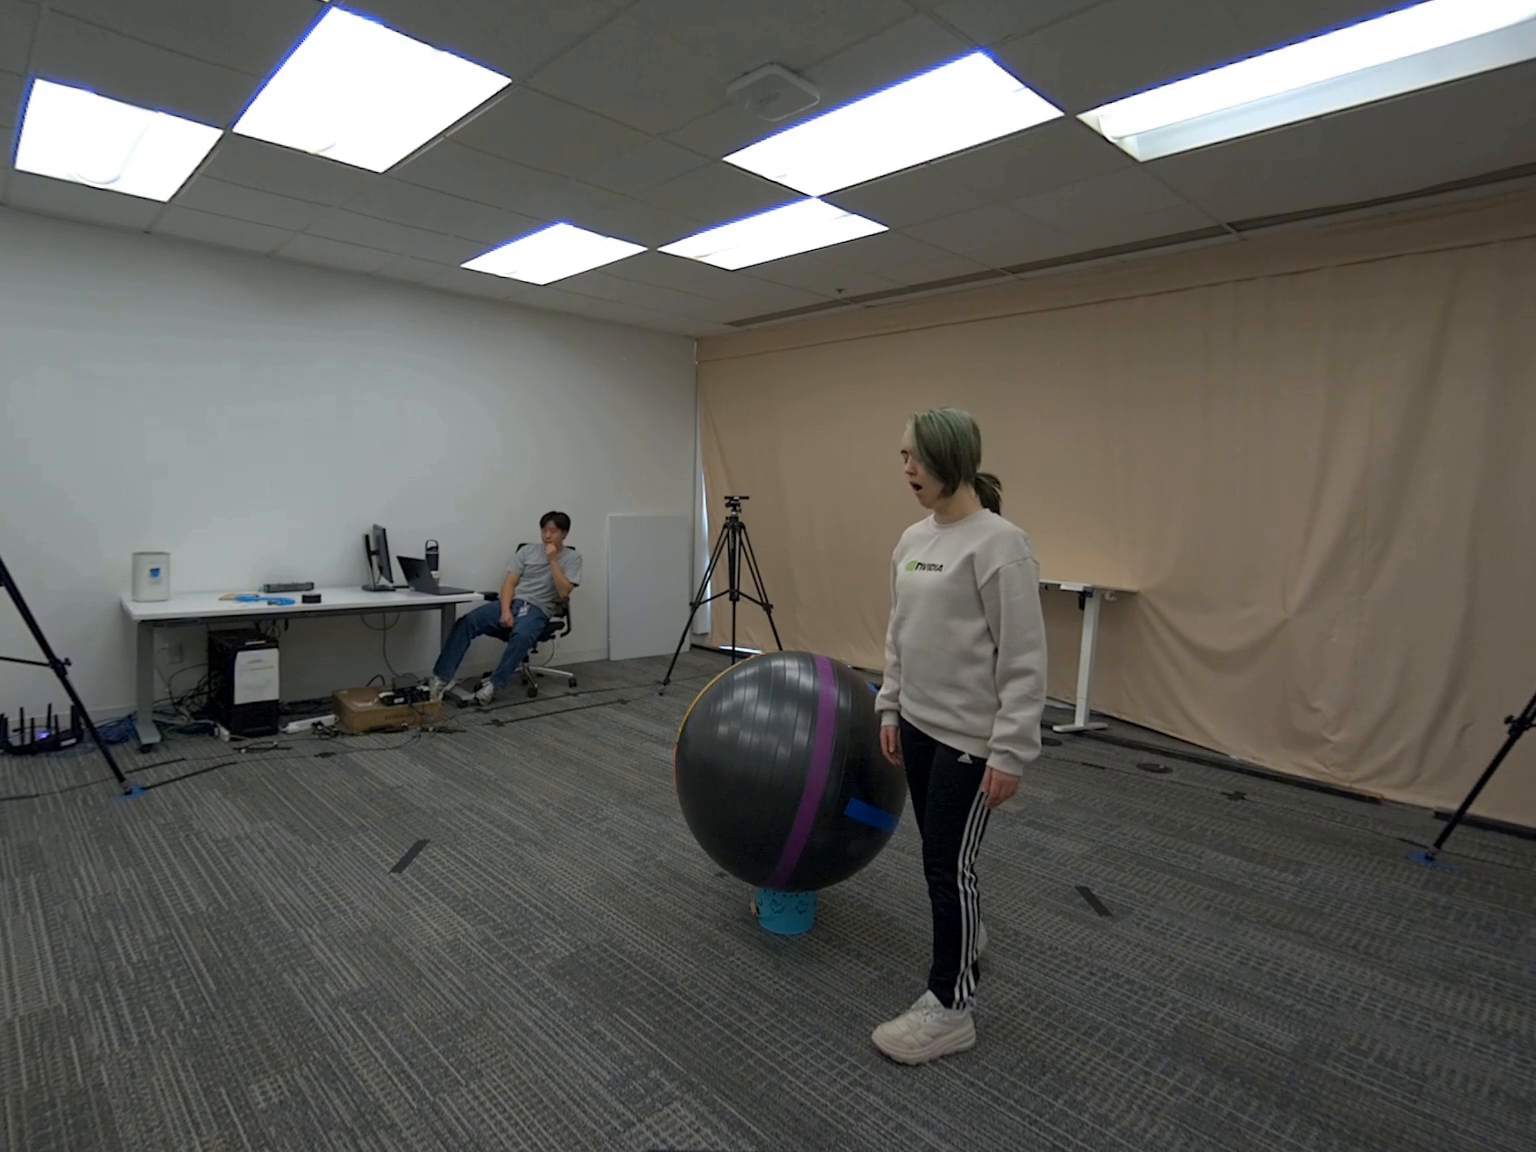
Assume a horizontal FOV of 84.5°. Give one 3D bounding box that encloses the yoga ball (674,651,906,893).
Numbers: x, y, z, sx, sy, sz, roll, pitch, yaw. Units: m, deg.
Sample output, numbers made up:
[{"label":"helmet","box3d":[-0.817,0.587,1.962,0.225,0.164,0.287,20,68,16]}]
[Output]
[{"label":"yoga ball","box3d":[0.065,0.631,2.754,0.757,0.756,0.761,1,4,-1]}]
